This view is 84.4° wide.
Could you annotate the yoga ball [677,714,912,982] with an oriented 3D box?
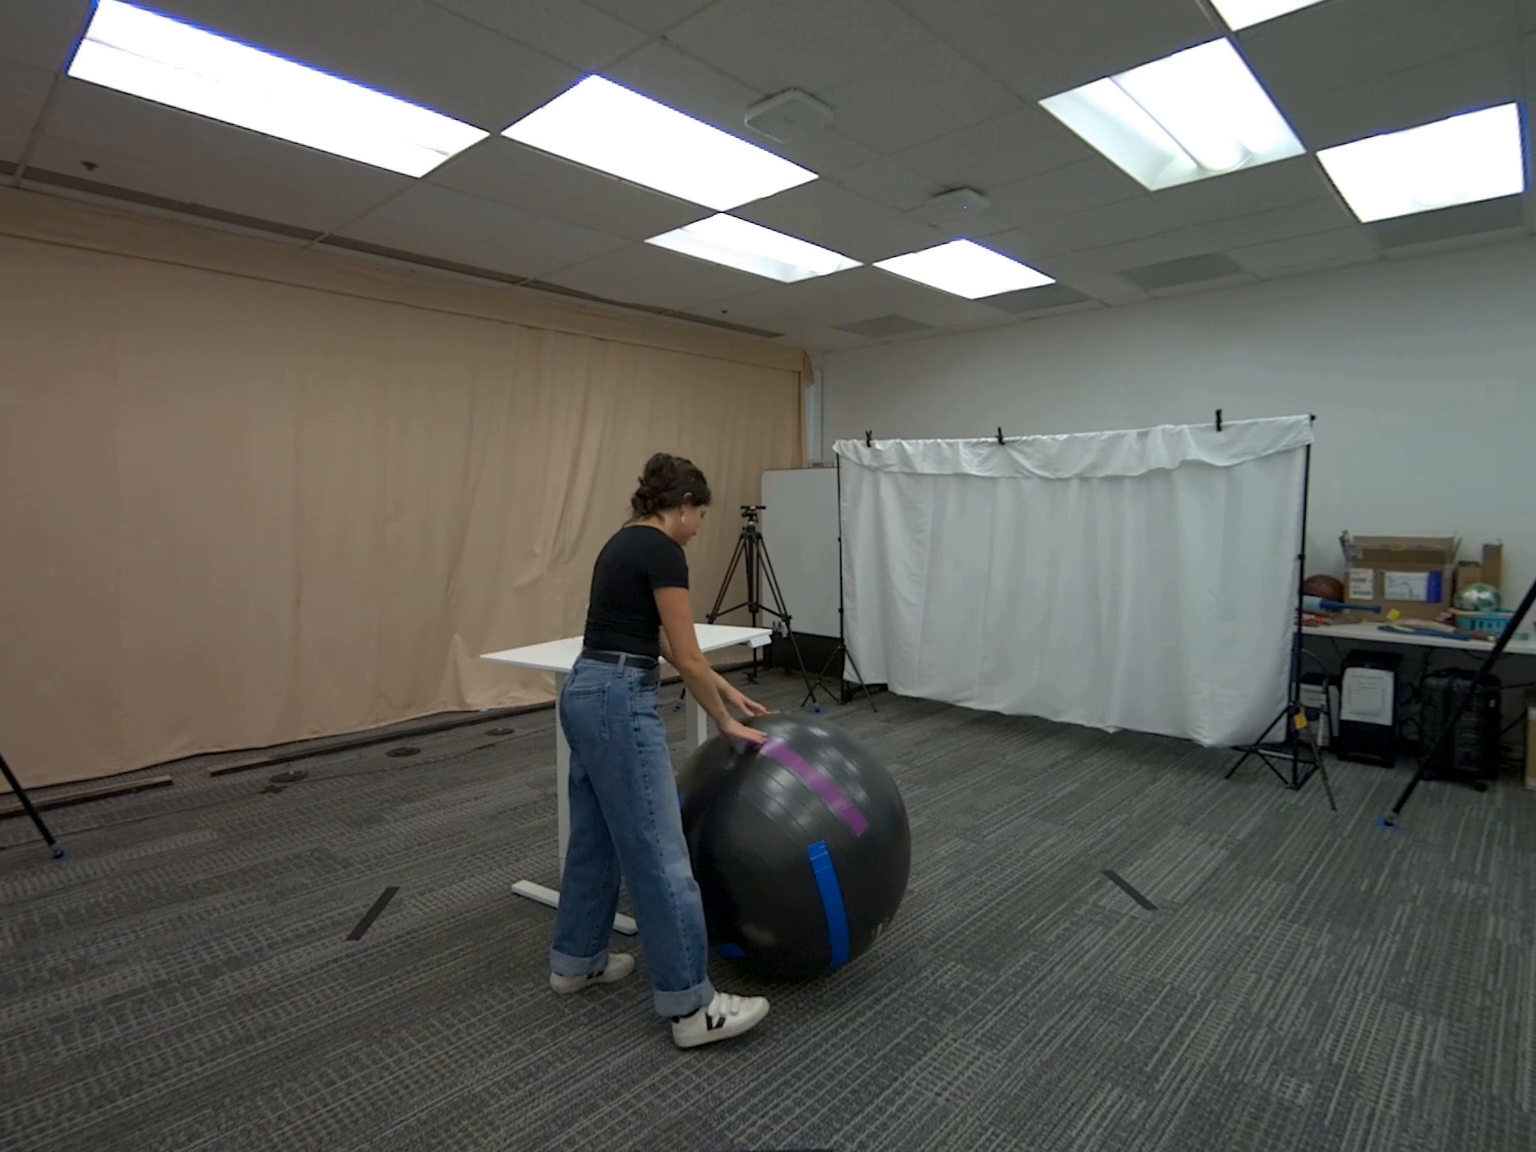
[{"bbox_3d":[0.067,0.814,2.573,0.757,0.756,0.760,0,4,-2],"label":"yoga ball"}]
